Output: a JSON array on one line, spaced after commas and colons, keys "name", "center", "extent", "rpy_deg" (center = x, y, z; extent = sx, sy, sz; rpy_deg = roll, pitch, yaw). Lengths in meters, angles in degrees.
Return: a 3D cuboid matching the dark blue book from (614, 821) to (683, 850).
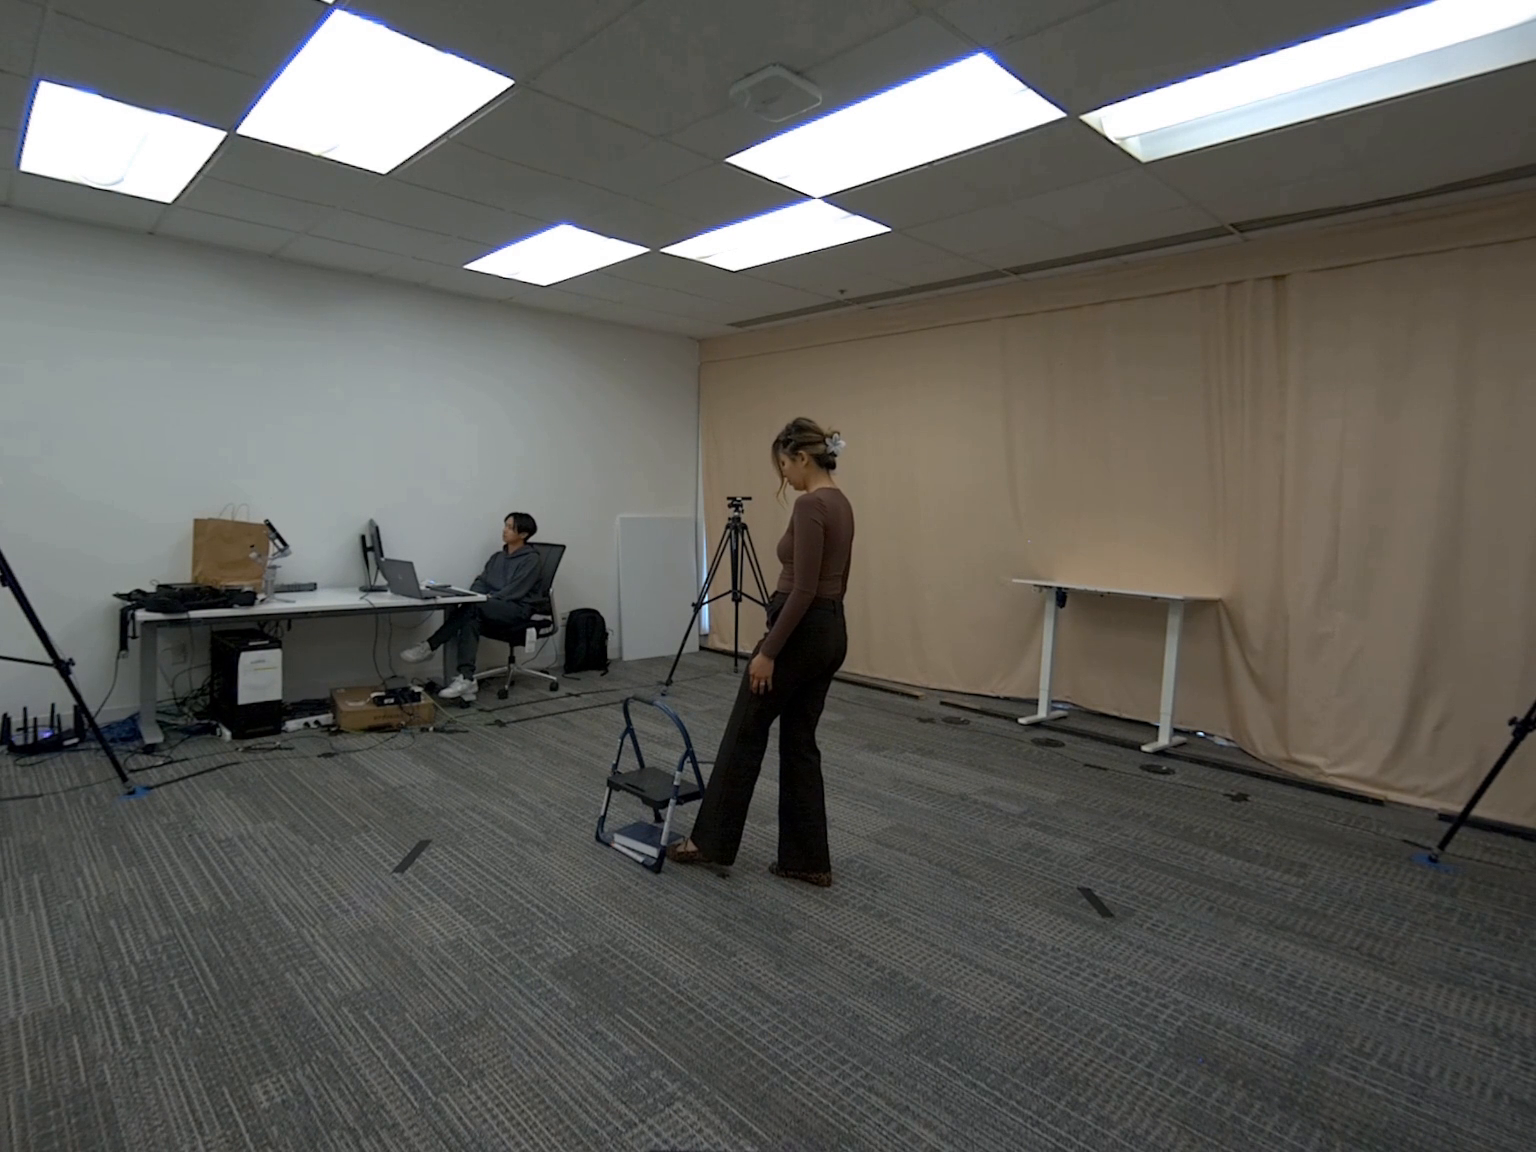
[{"name": "dark blue book", "center": [-0.479, 1.048, 3.367], "extent": [0.251, 0.045, 0.160], "rpy_deg": [6, 6, 36]}]
